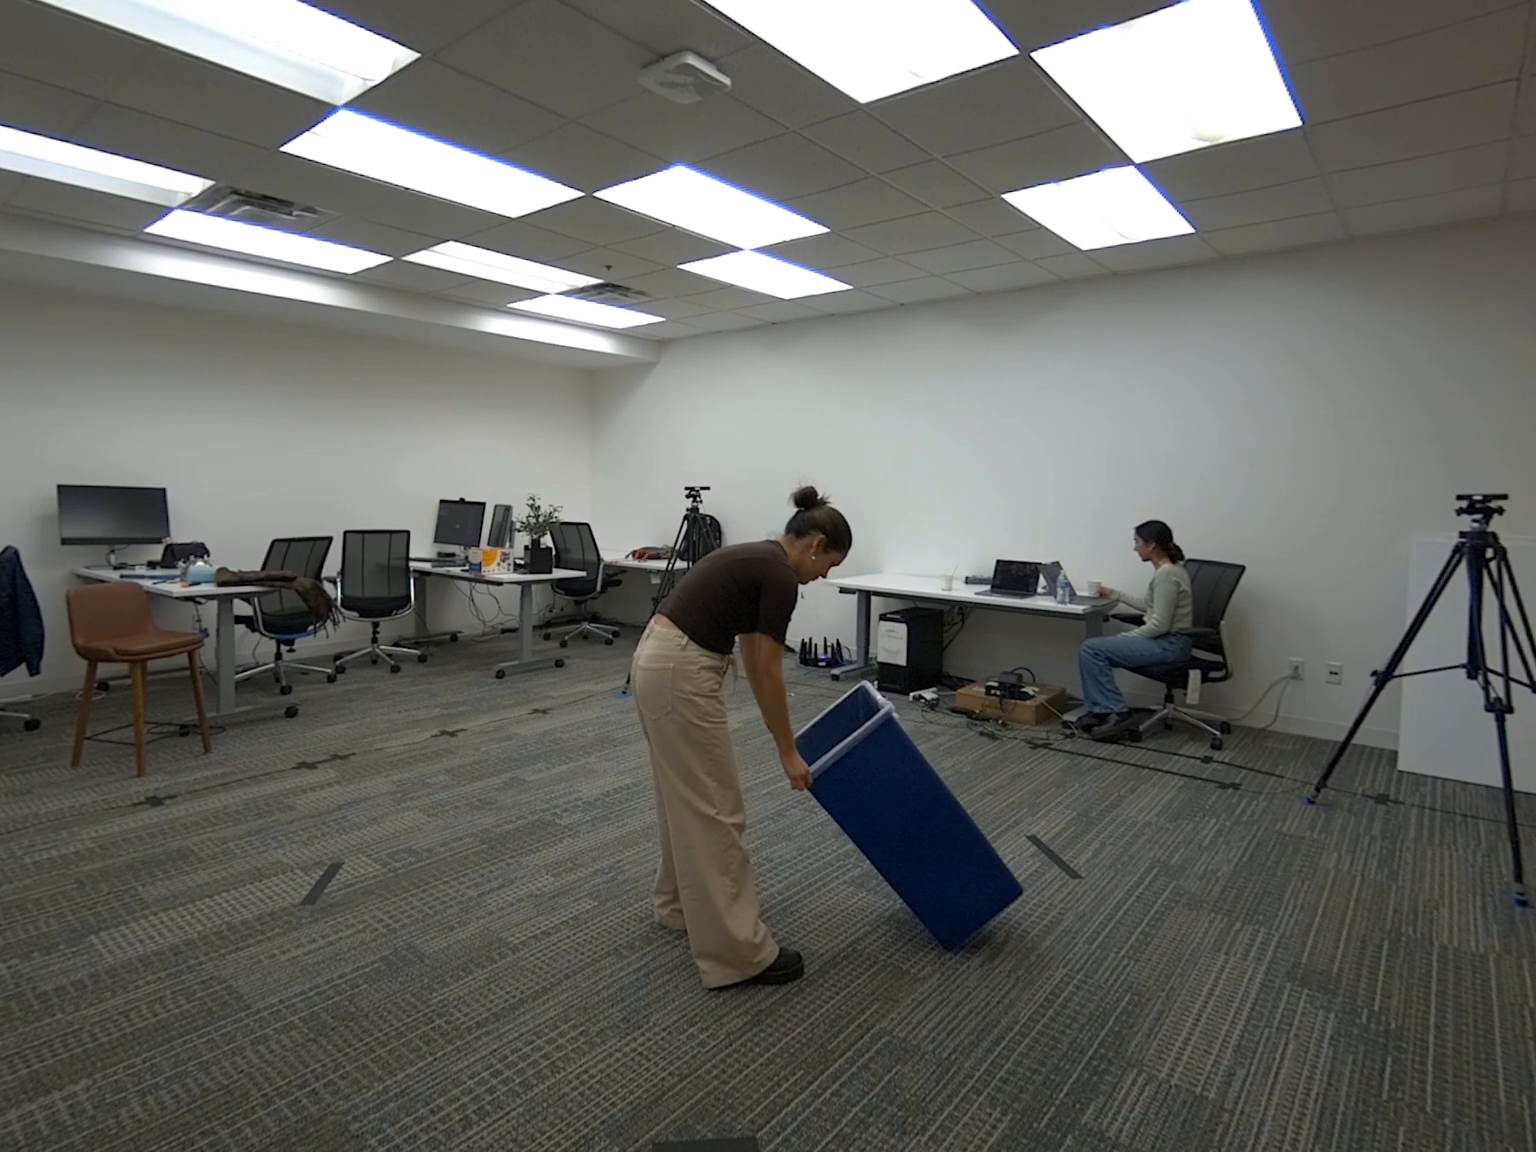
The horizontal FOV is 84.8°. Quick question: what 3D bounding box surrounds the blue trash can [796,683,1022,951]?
[{"bbox_3d":[0.410,0.754,2.683,0.374,0.710,0.380,-38,4,-2],"label":"blue trash can"}]
